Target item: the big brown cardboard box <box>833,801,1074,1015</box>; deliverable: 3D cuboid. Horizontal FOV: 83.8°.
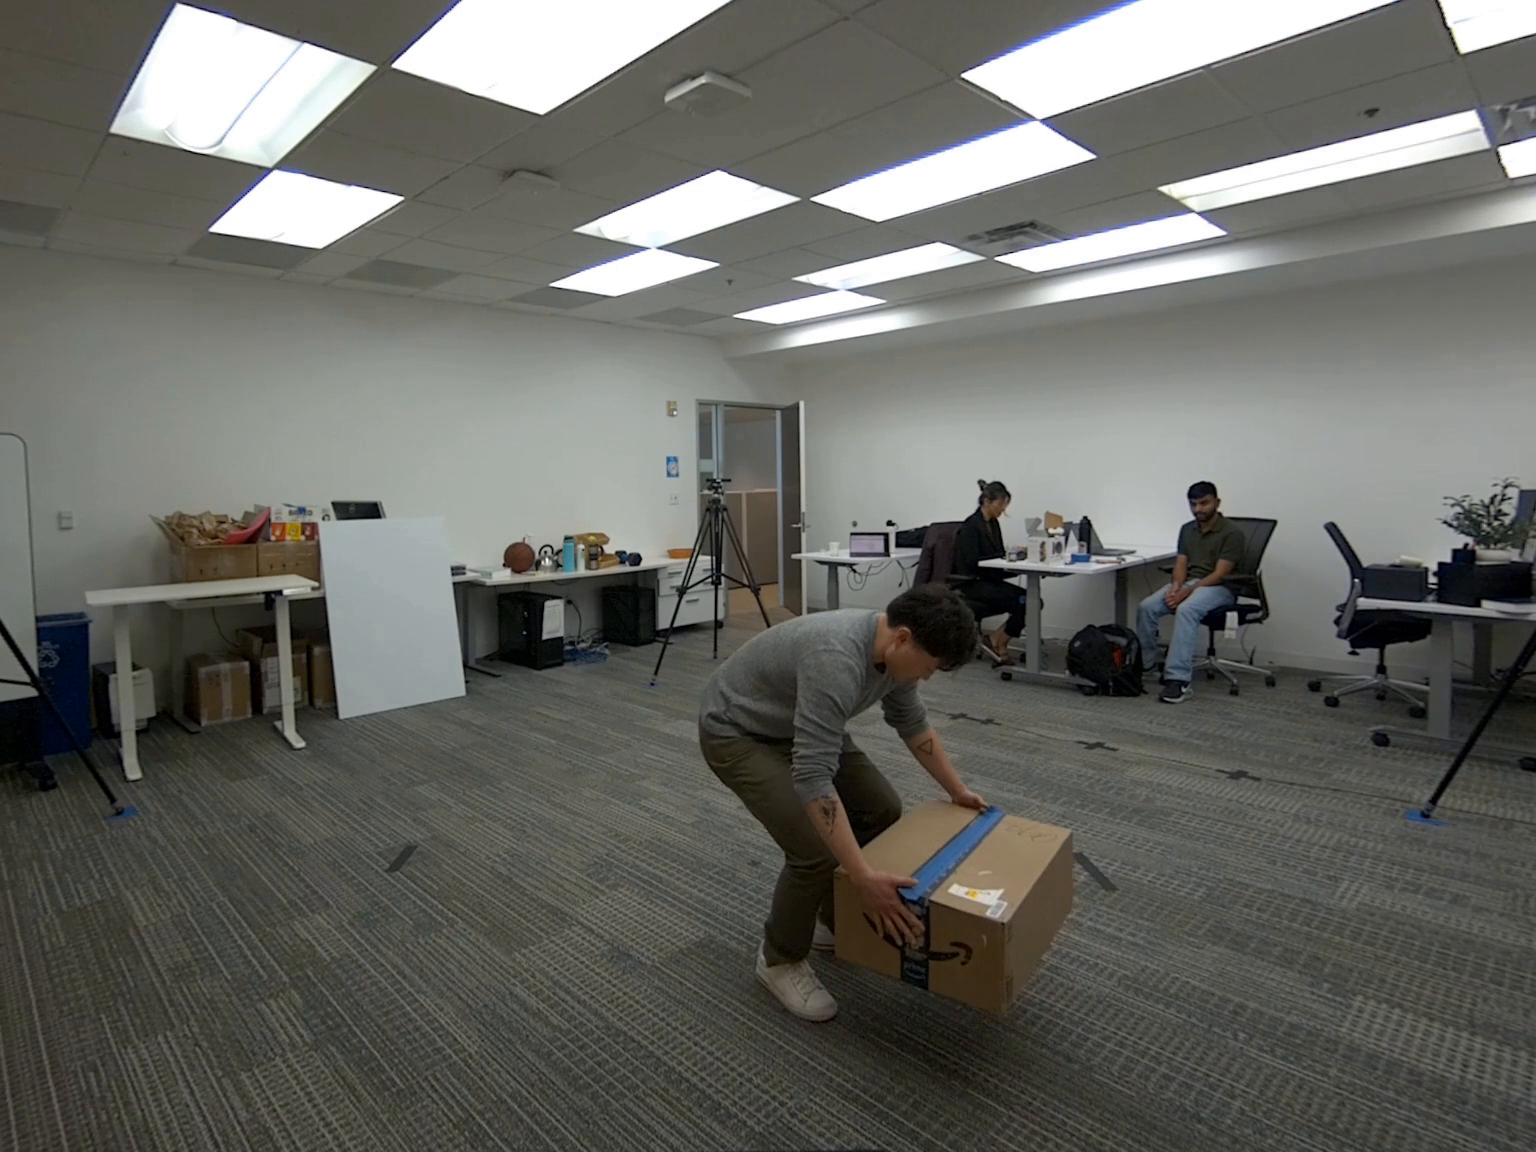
[{"bbox_3d":[0.481,0.793,2.166,0.429,0.232,0.575,3,7,34],"label":"big brown cardboard box"}]
